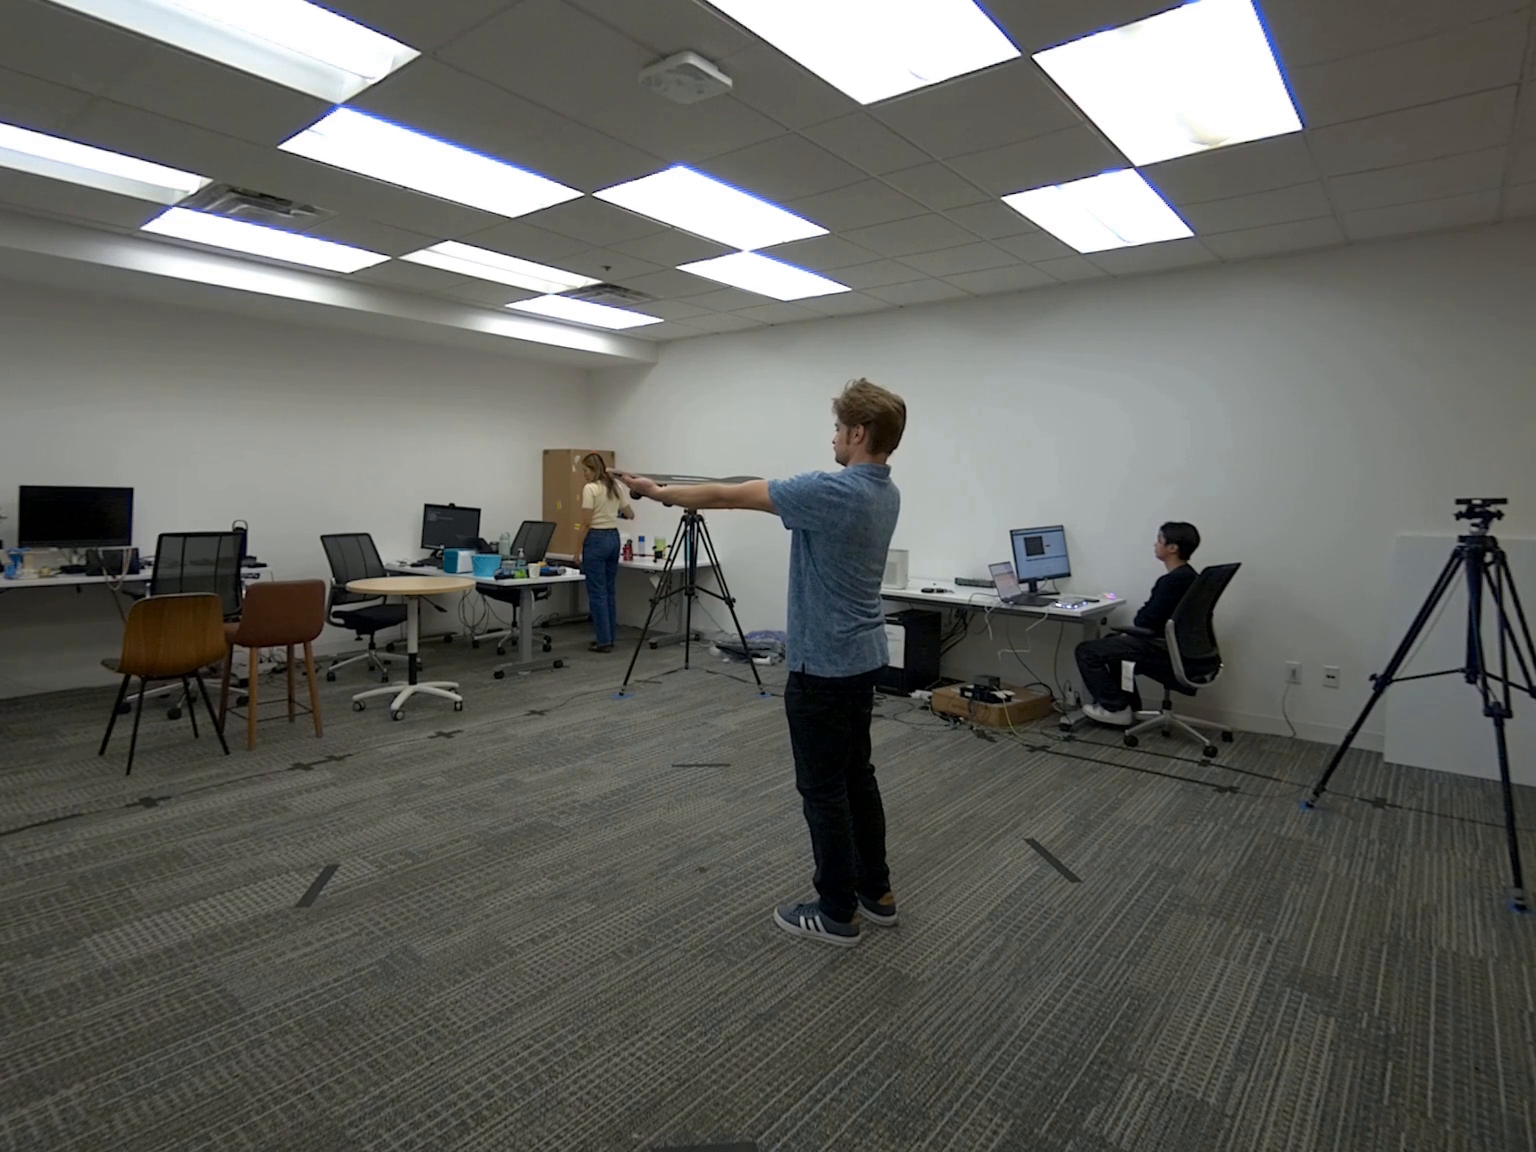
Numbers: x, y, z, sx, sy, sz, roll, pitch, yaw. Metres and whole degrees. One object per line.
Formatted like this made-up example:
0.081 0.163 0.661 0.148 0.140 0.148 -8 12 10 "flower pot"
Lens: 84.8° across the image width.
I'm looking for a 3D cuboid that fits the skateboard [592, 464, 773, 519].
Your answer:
-0.271 -0.300 3.054 0.201 0.109 0.762 30 20 32 "skateboard"
